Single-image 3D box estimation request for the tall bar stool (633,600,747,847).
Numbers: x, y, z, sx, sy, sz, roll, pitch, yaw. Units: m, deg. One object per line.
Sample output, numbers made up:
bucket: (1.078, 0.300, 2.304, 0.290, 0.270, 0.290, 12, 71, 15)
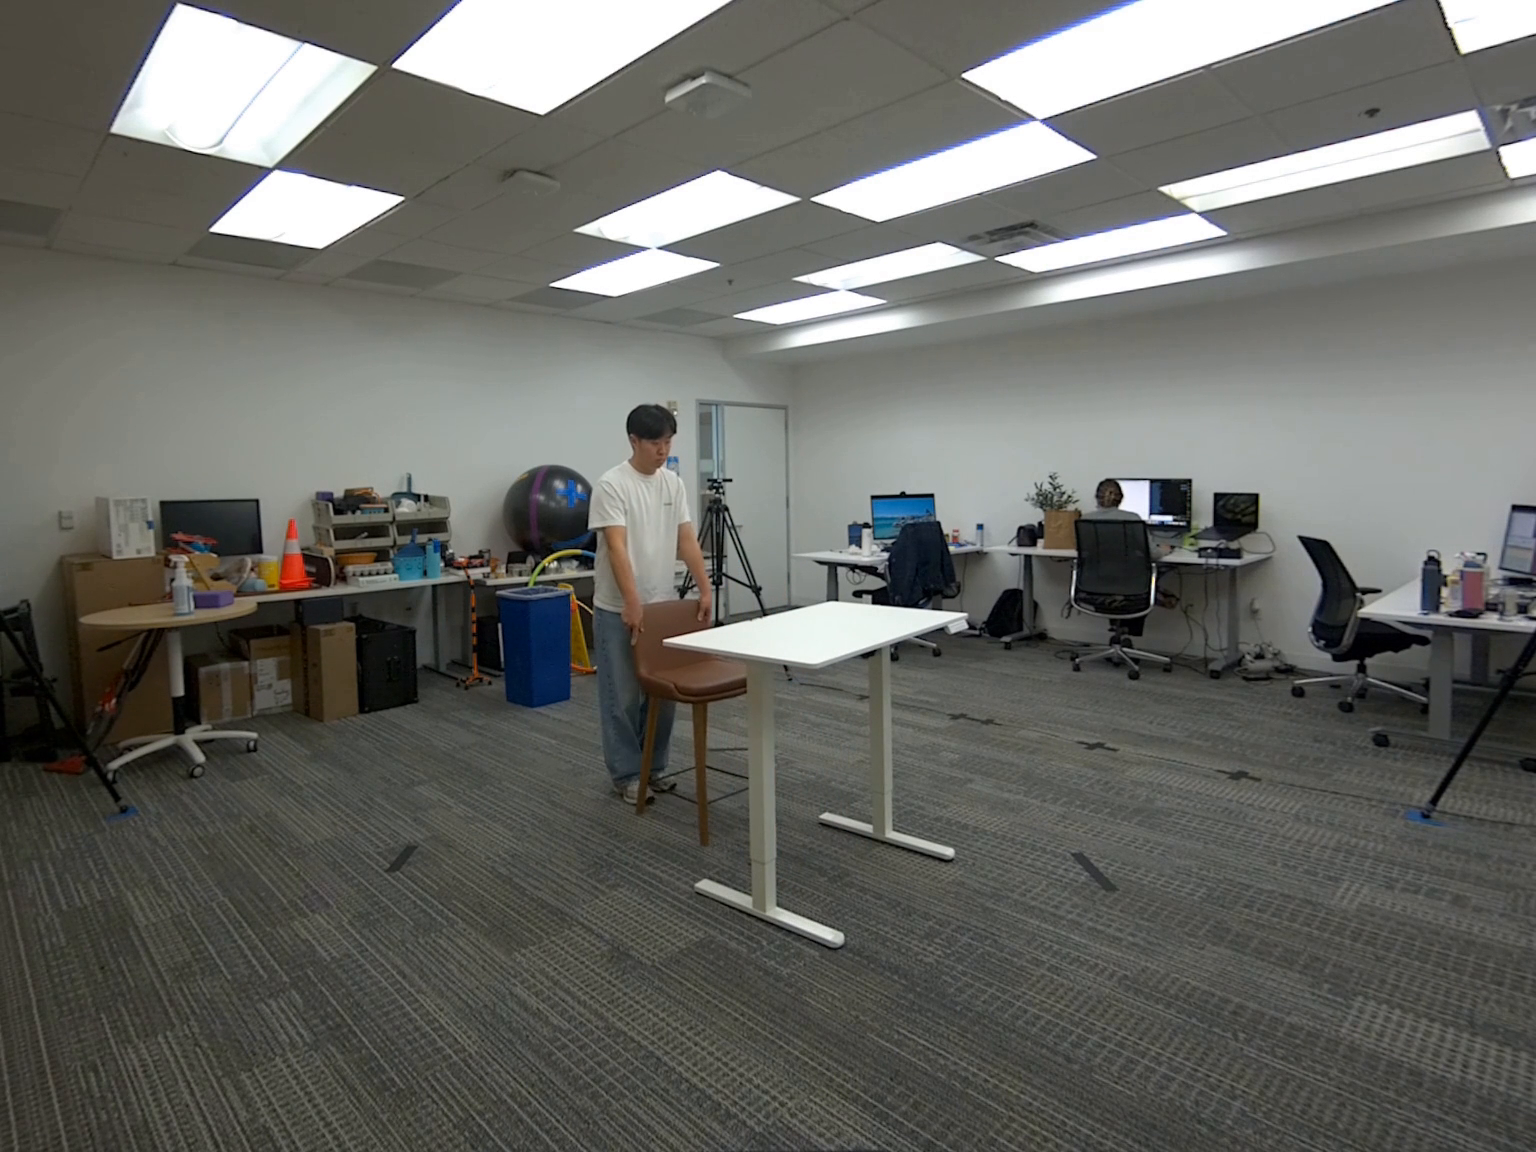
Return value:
tall bar stool: (-0.274, 0.561, 3.525, 0.444, 0.888, 0.481, -5, 3, -45)
